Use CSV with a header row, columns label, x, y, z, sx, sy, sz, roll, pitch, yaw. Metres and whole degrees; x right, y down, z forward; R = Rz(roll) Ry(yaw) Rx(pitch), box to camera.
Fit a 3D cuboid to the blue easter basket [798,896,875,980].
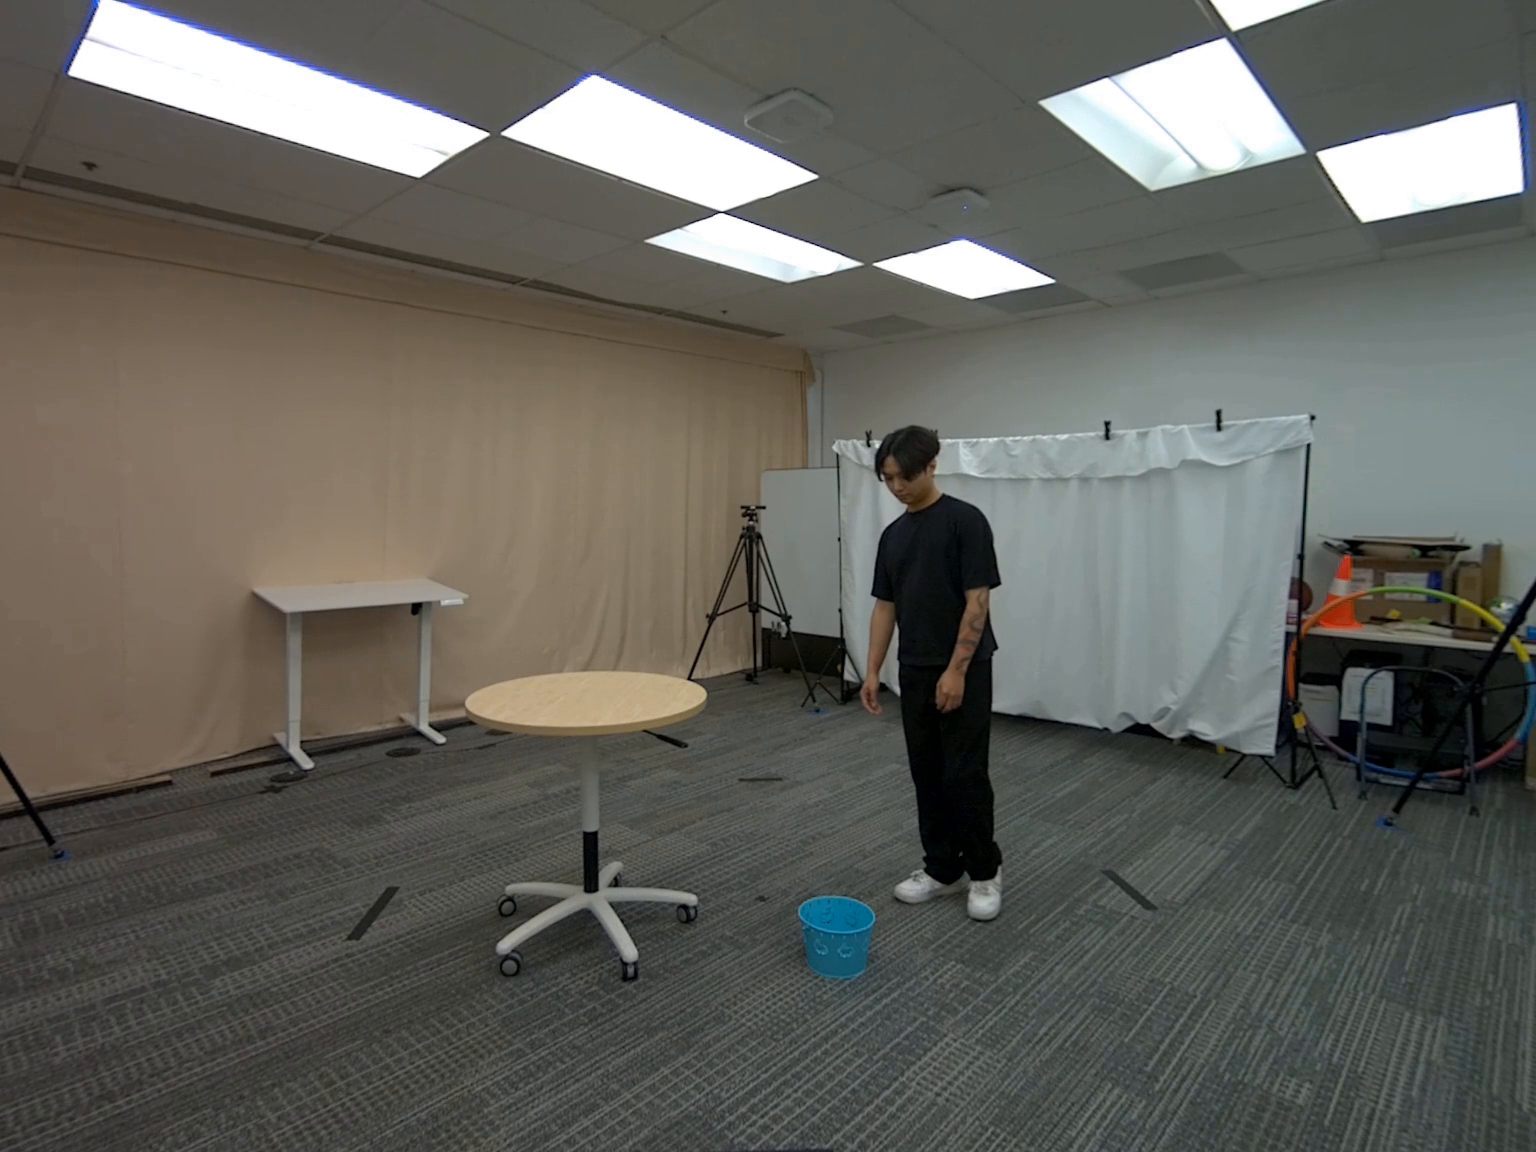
label,x,y,z,sx,sy,sz,roll,pitch,yaw
blue easter basket,0.214,1.100,2.566,0.243,0.155,0.244,0,3,-2
